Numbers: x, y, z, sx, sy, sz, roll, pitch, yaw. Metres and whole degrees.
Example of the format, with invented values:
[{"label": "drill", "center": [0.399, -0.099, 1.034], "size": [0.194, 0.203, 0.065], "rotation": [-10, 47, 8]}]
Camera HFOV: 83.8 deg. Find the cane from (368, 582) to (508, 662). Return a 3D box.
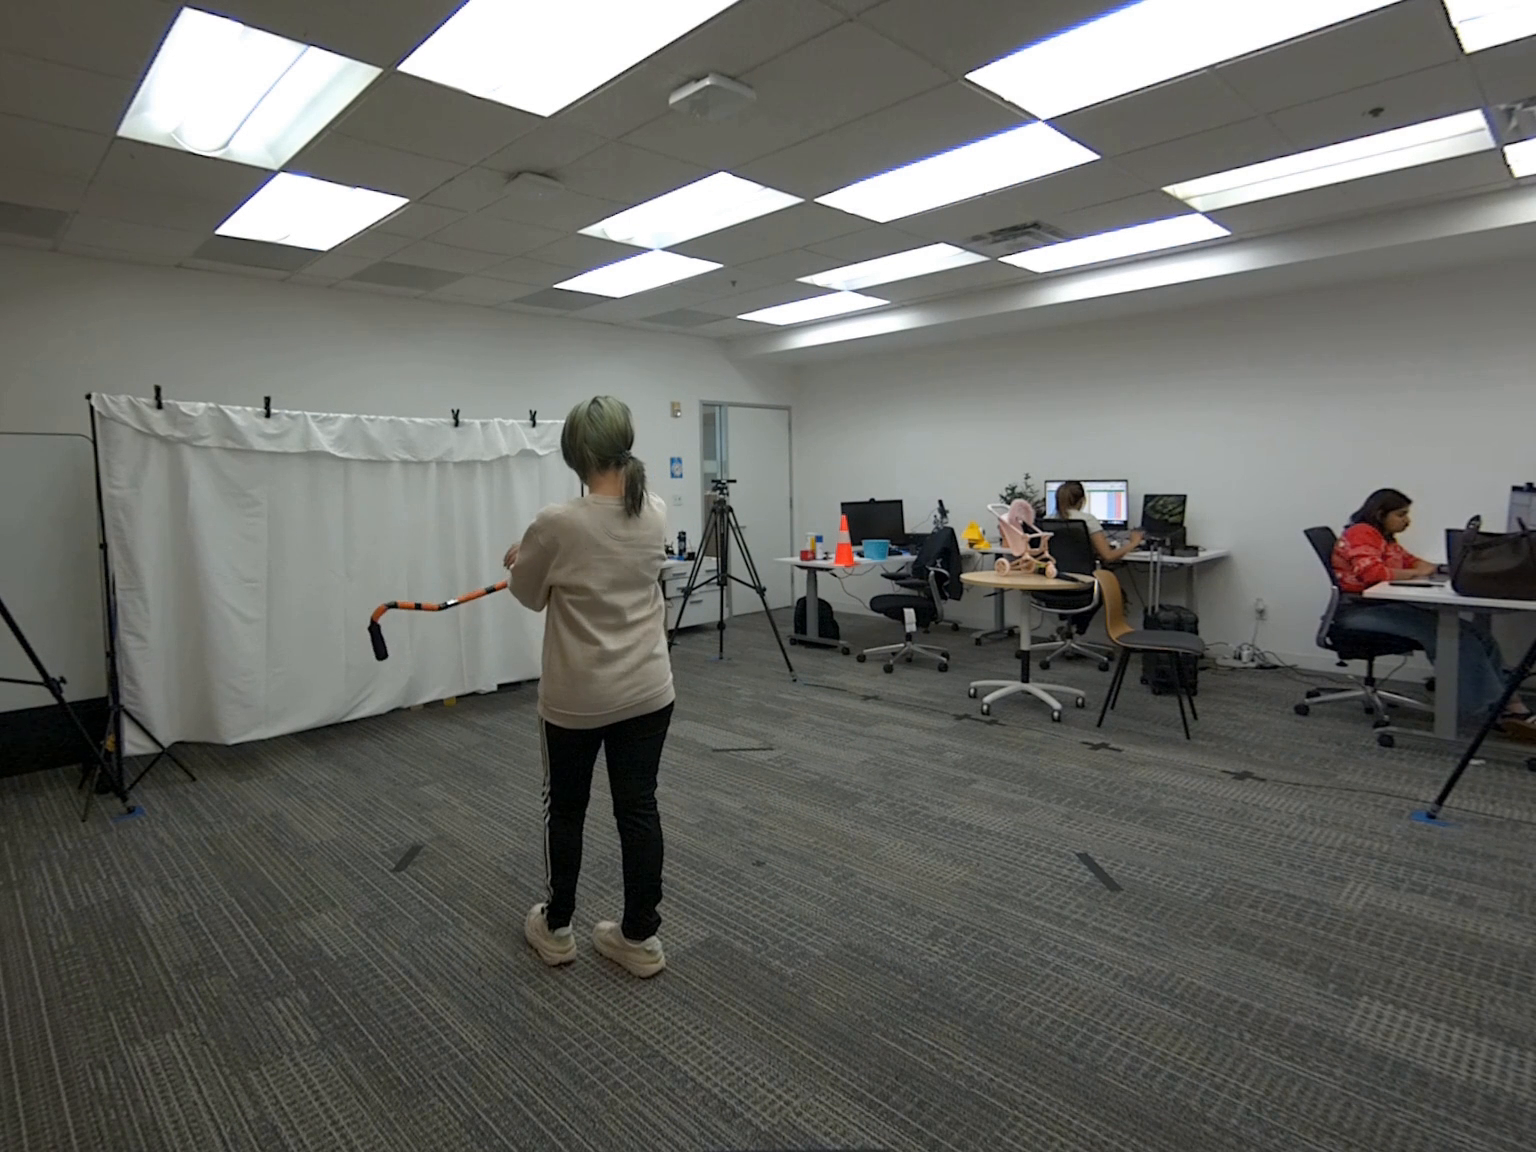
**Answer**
[{"label": "cane", "center": [-0.802, 0.017, 2.714], "size": [0.894, 0.202, 0.157], "rotation": [-22, 24, -31]}]
